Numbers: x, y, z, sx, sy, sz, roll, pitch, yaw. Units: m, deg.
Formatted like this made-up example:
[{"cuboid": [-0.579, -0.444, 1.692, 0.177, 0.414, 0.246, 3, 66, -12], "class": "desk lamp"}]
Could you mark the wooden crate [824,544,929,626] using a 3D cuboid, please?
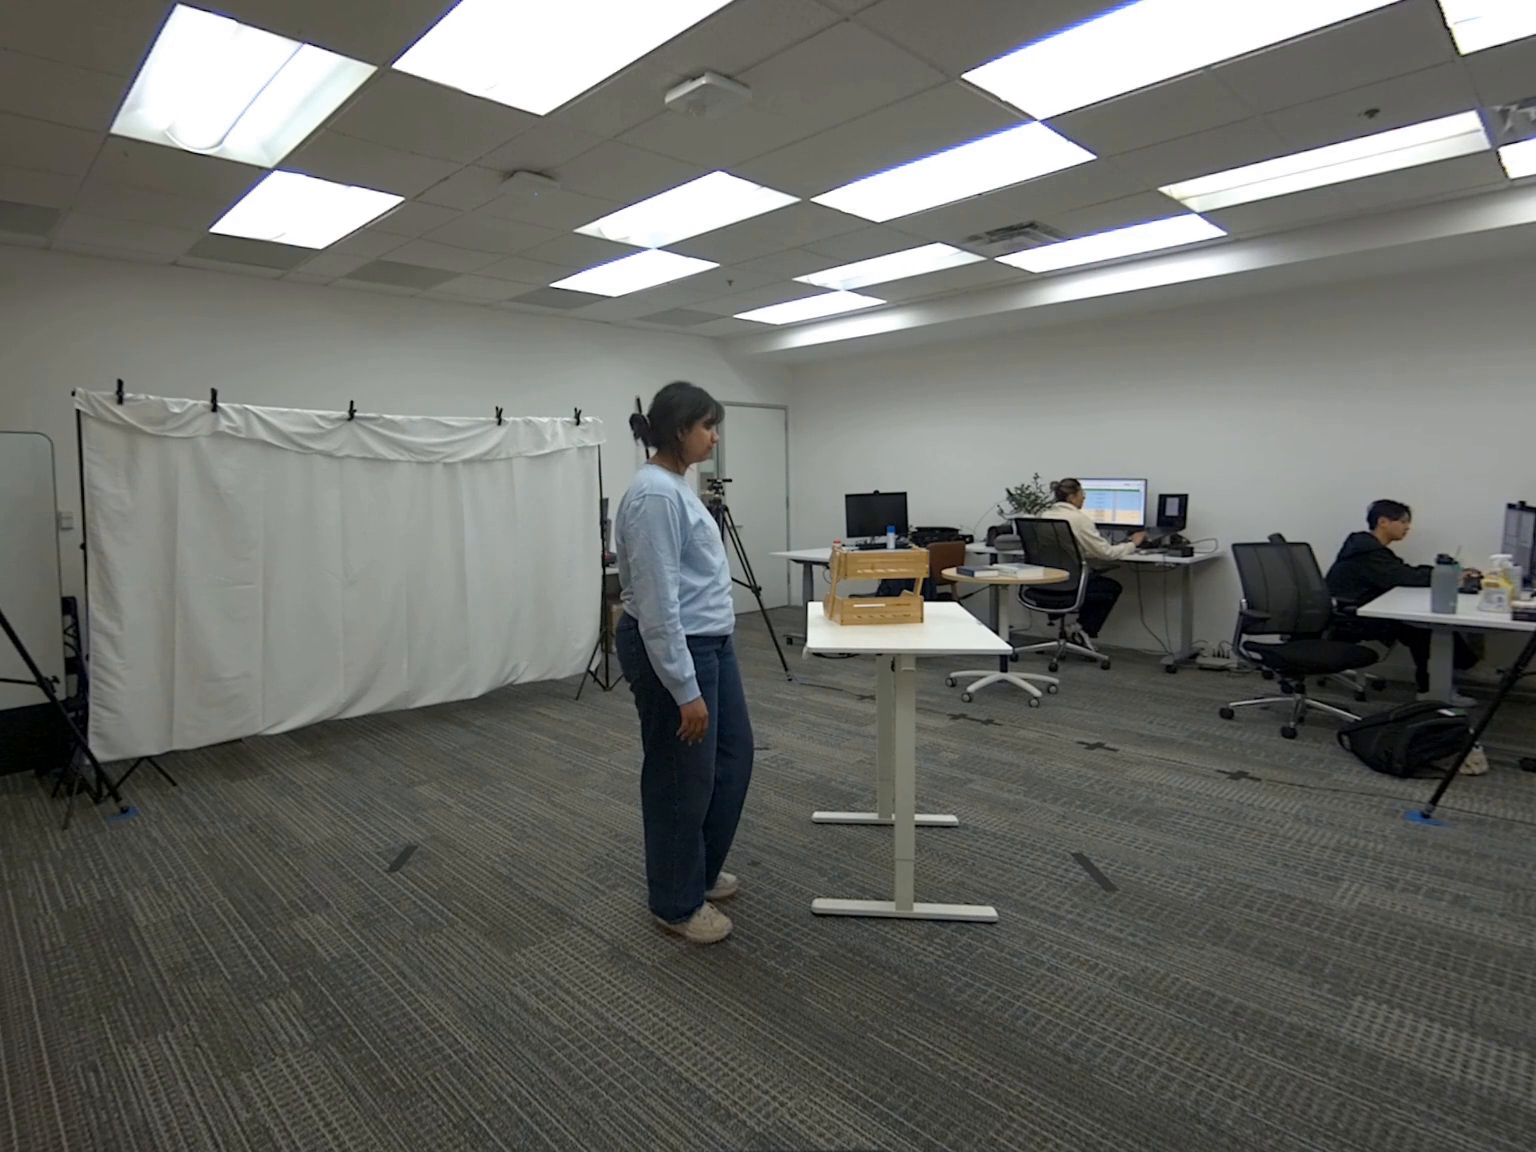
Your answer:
[{"cuboid": [0.388, 0.026, 3.073, 0.322, 0.272, 0.306, -1, 7, -9], "class": "wooden crate"}]
